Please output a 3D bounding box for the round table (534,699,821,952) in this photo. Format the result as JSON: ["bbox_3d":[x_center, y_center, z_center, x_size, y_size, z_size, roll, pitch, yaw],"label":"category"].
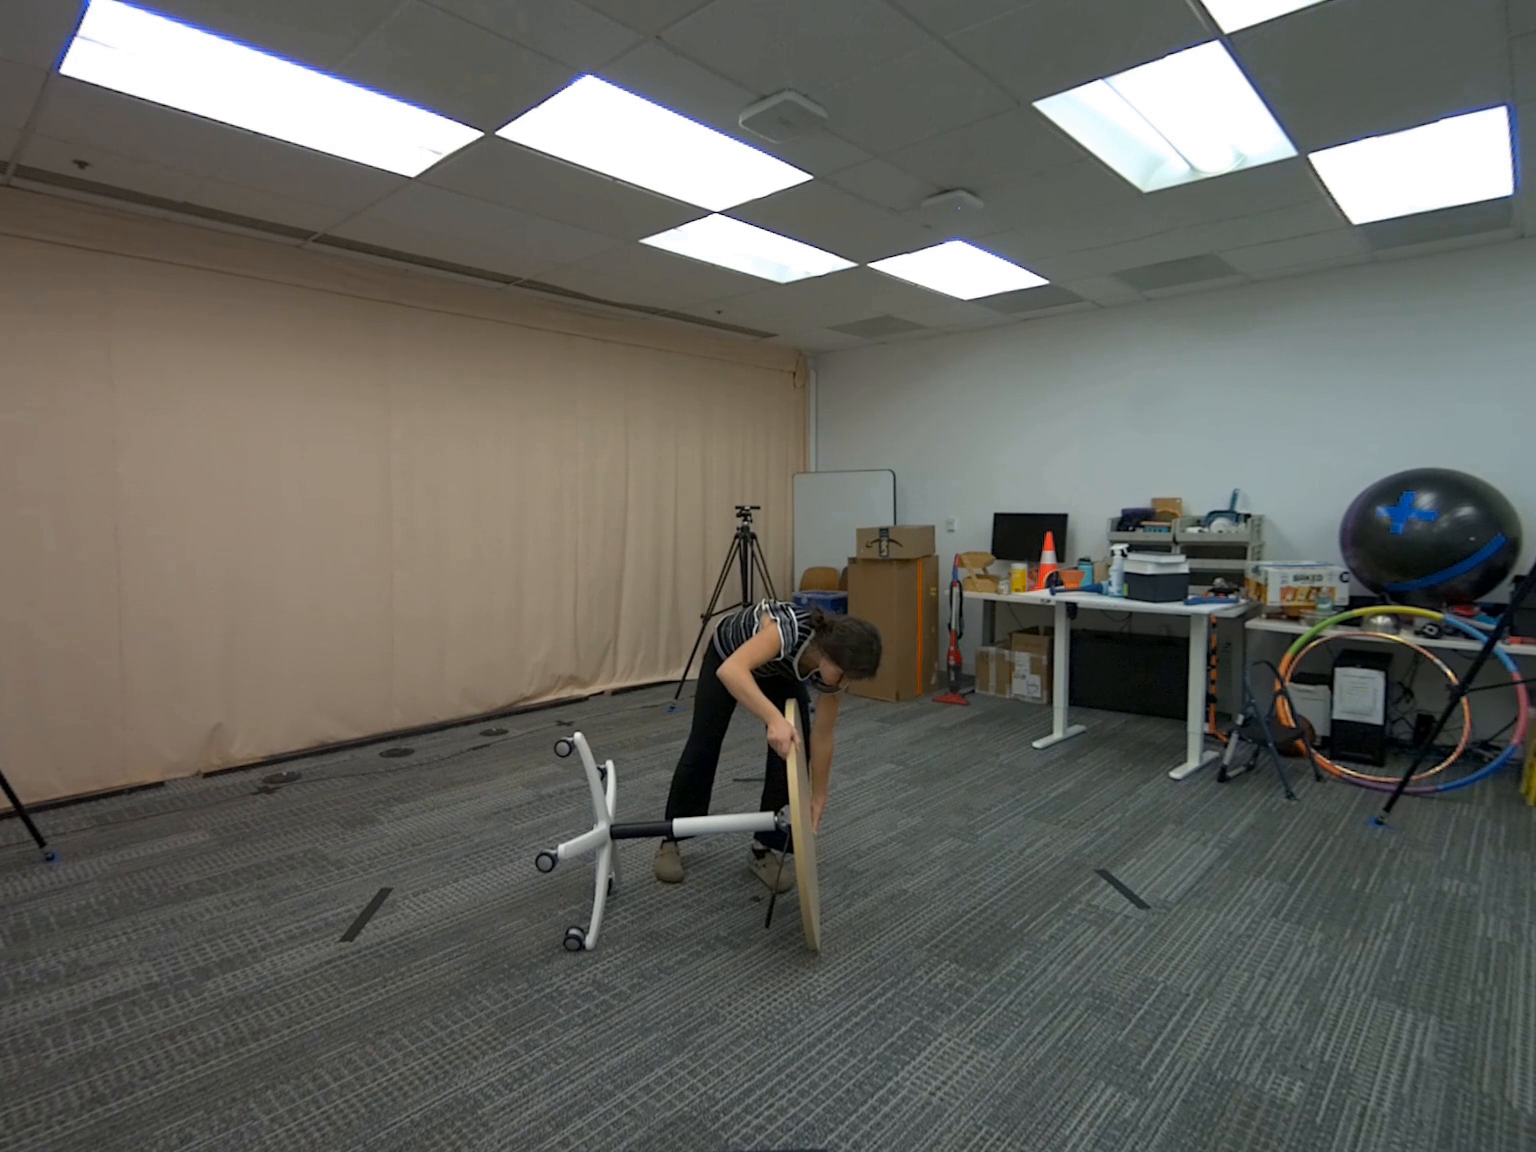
[{"bbox_3d":[-0.268,0.828,2.763,0.799,0.762,0.761,-6,3,5],"label":"round table"}]
